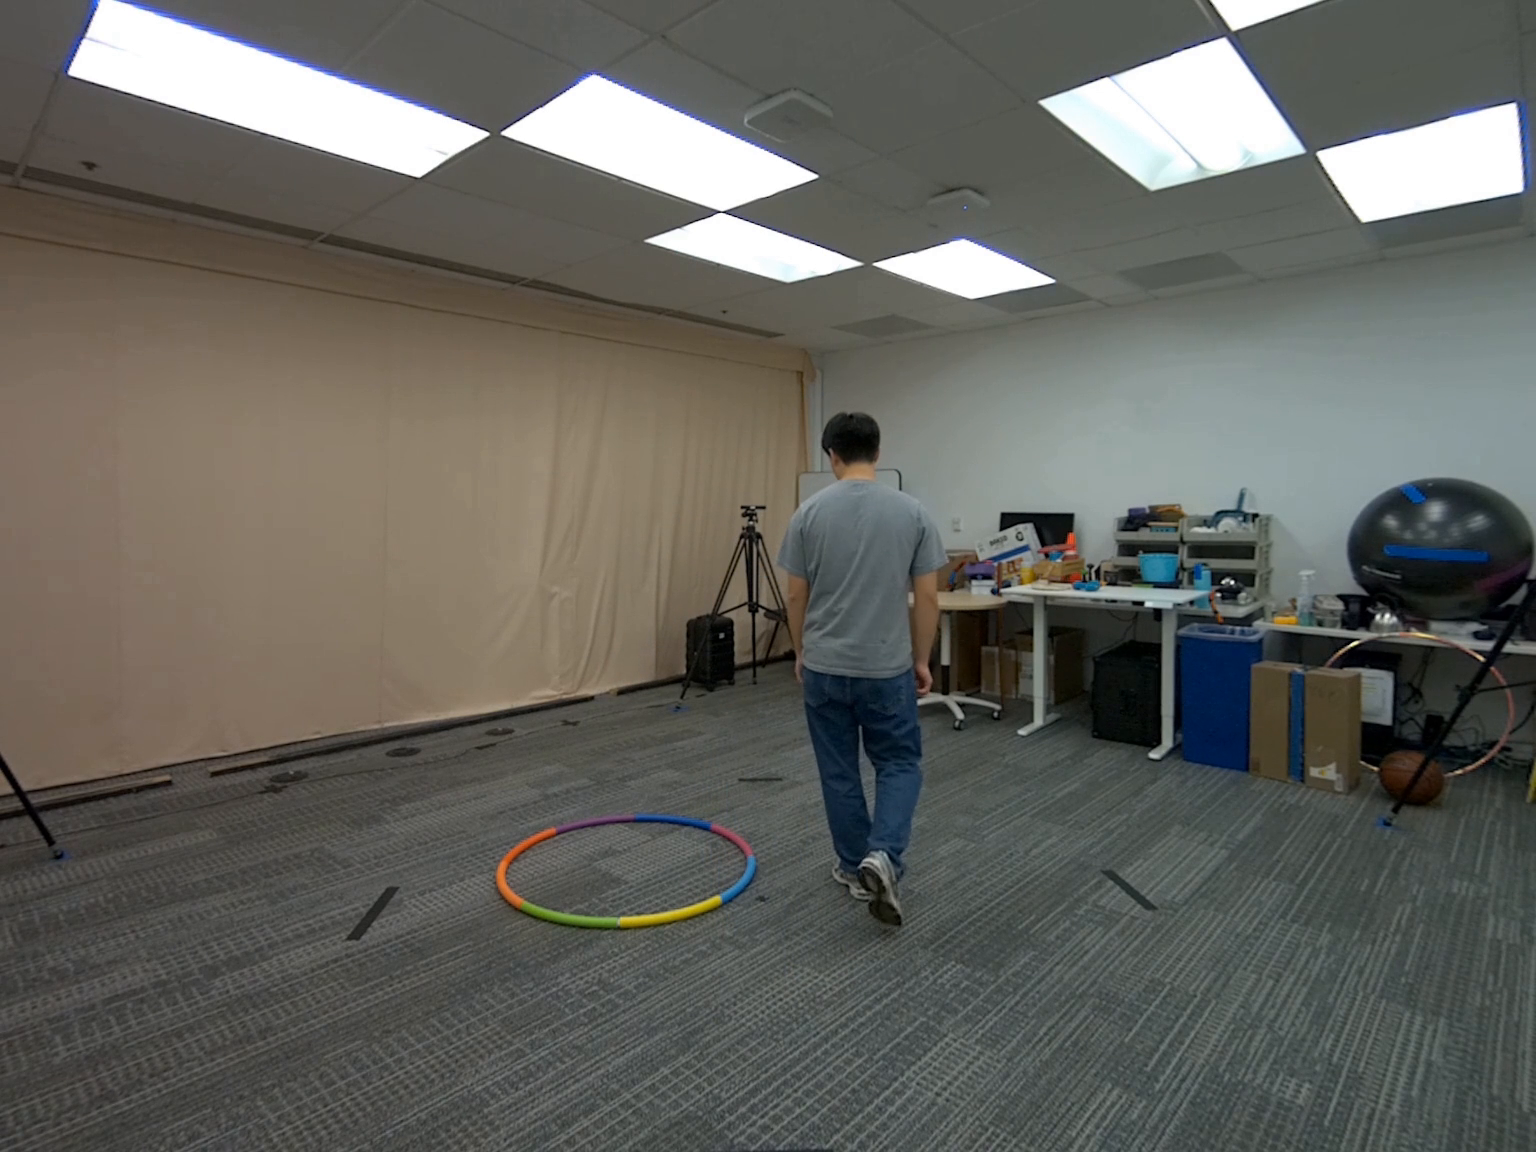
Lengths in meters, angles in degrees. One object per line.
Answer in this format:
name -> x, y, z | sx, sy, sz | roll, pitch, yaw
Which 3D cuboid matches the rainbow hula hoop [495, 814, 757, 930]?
rainbow hula hoop -> -0.536, 1.096, 3.250 | 0.978, 0.035, 0.982 | -1, 4, -2
